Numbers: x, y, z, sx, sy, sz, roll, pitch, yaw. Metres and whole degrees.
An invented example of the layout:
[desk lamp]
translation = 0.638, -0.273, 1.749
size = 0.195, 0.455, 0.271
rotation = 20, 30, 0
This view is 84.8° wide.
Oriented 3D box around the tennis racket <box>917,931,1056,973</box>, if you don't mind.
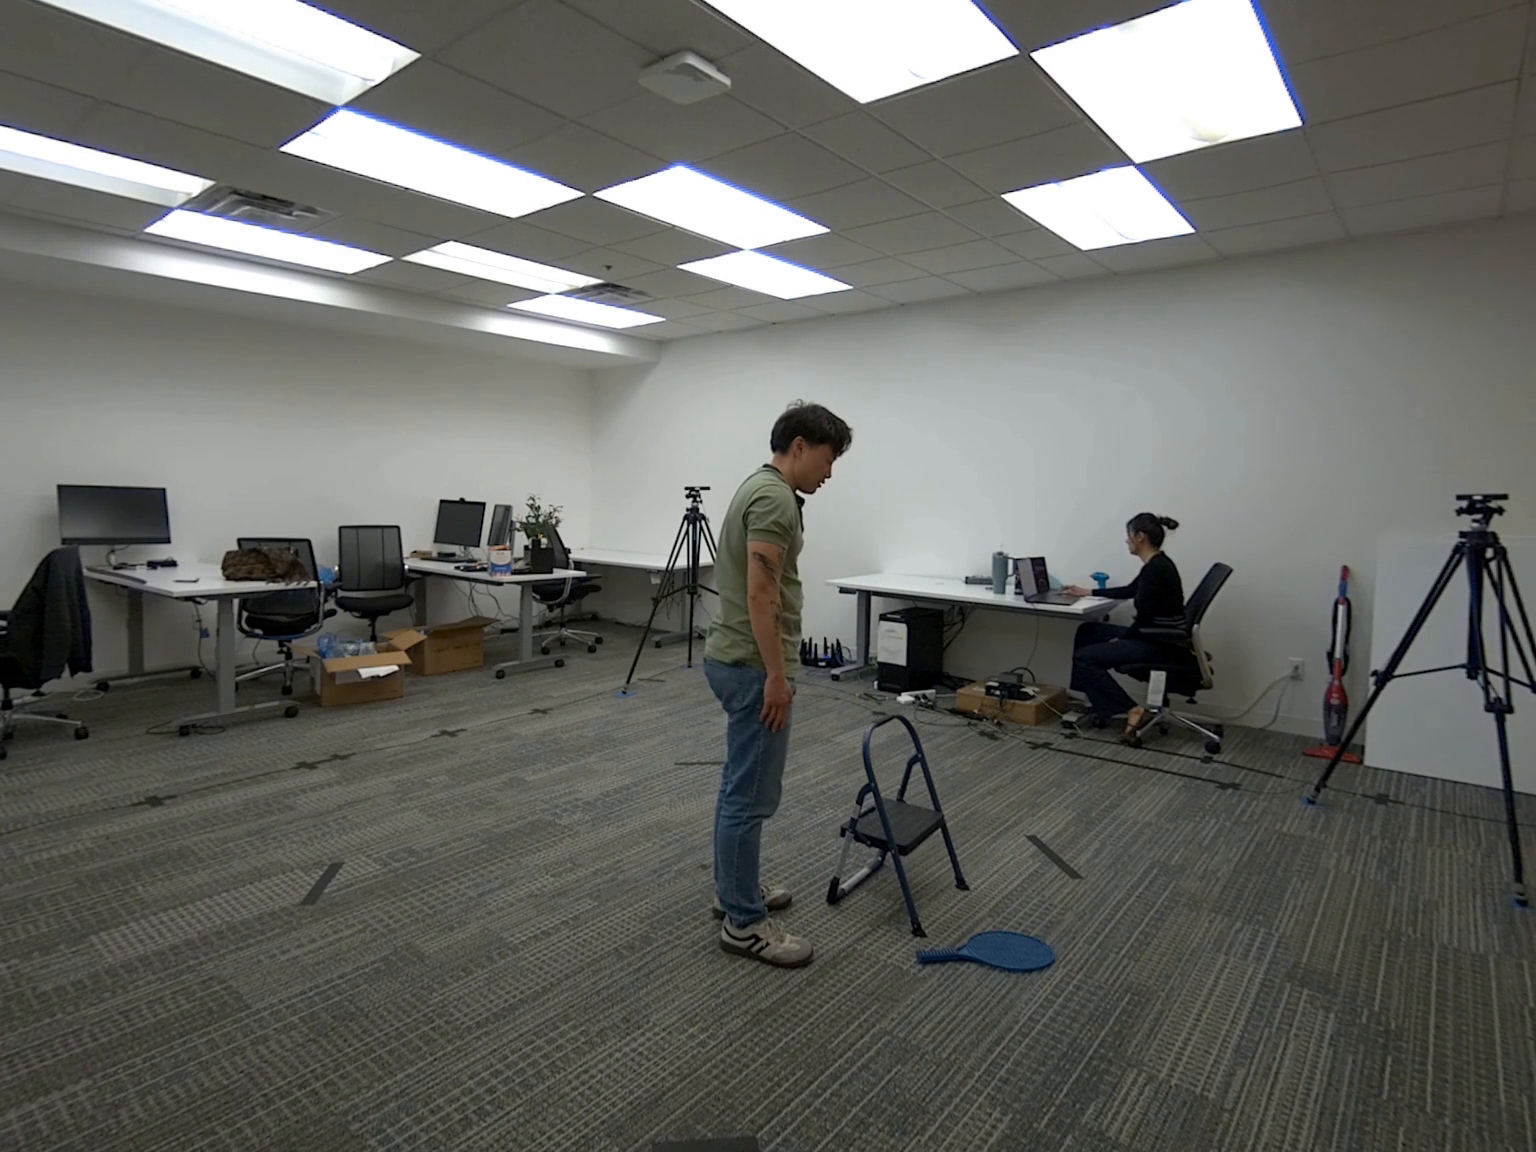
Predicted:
[tennis racket]
translation = 0.648, 1.129, 2.556
size = 0.426, 0.031, 0.218
rotation = 1, 5, -14
